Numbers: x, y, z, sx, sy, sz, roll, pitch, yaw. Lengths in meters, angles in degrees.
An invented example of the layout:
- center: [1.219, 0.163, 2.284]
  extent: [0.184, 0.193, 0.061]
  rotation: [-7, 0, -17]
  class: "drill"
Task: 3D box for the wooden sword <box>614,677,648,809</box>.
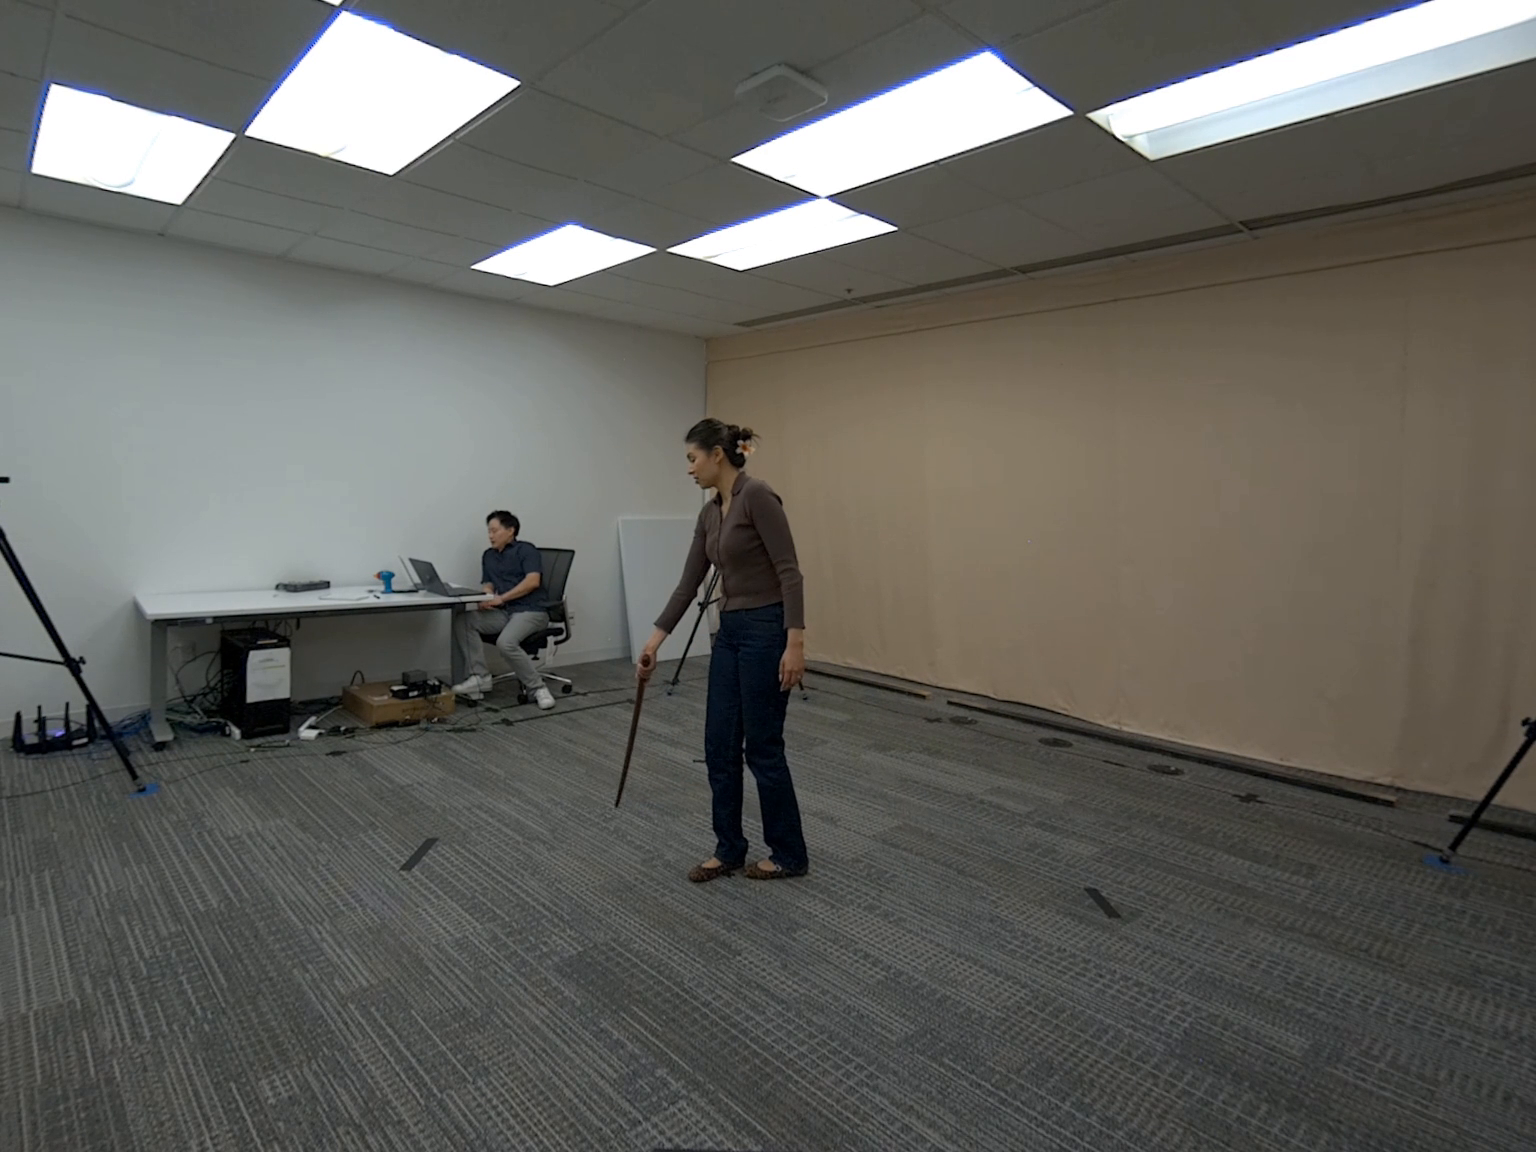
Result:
- center: [-0.576, 0.660, 3.442]
  extent: [0.050, 1.010, 0.025]
  rotation: [-2, 43, -22]
  class: "wooden sword"
